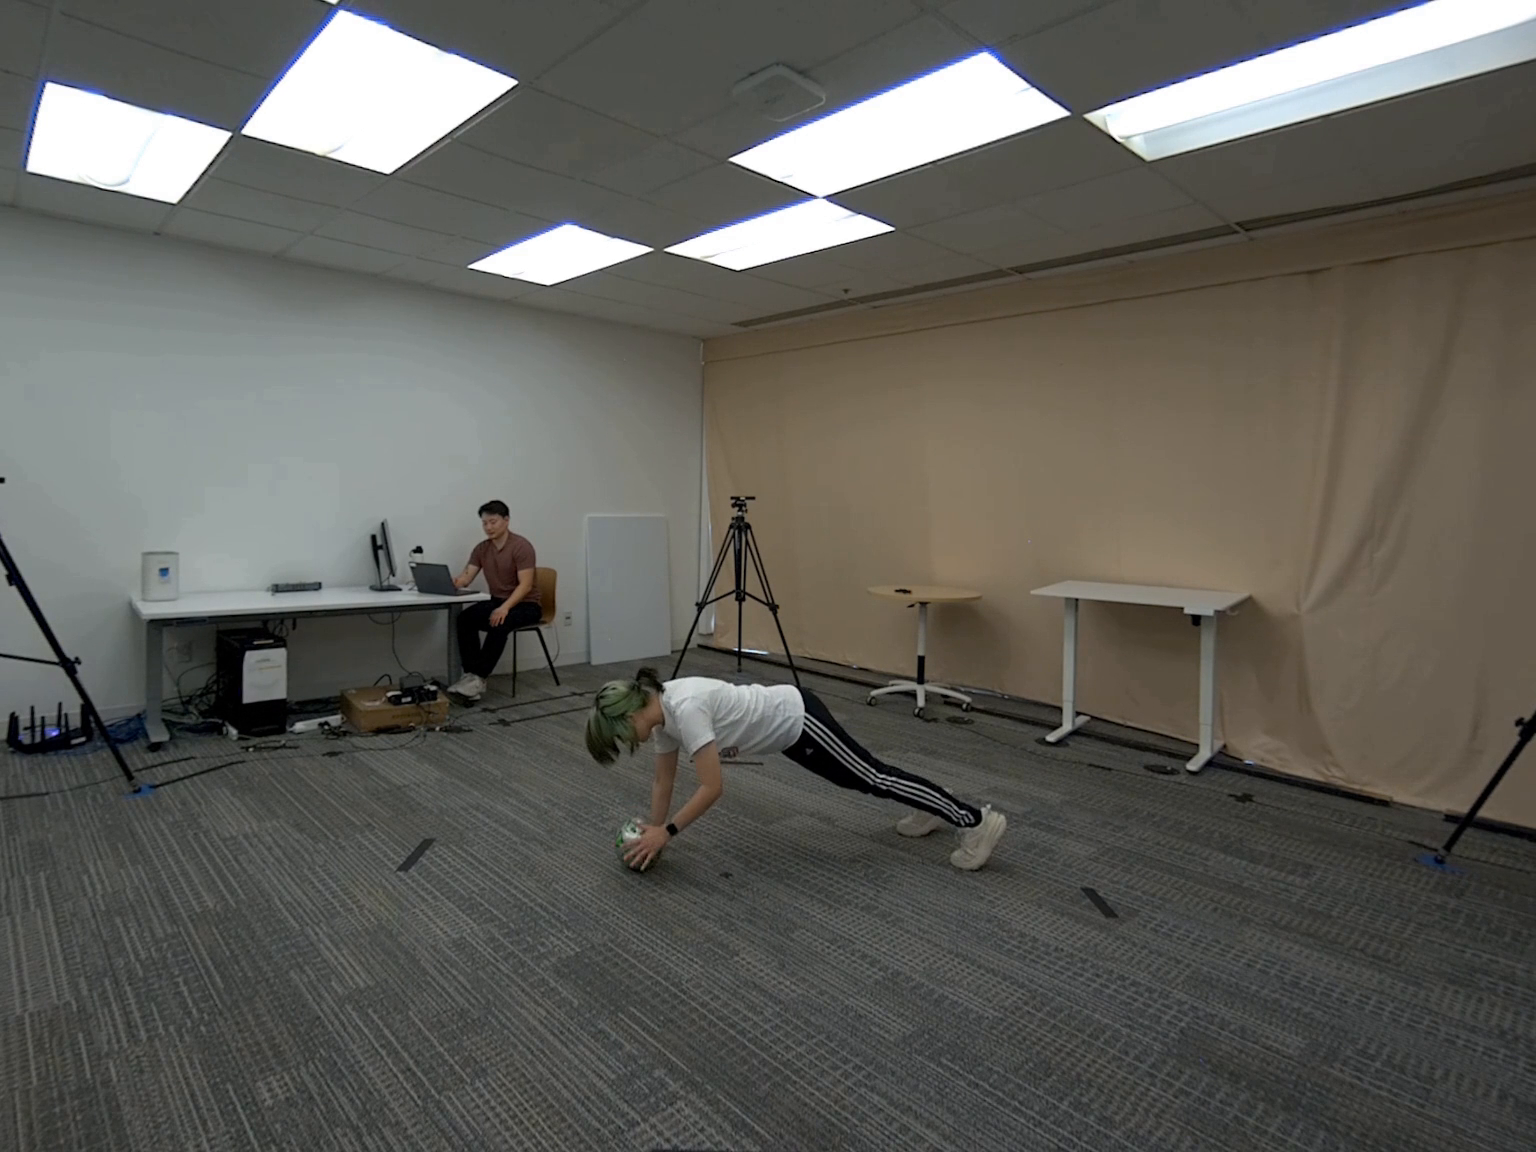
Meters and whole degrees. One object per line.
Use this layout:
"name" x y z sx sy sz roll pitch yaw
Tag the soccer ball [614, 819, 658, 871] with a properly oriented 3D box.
"soccer ball" -0.489 1.000 3.143 0.187 0.187 0.188 1 4 -1
